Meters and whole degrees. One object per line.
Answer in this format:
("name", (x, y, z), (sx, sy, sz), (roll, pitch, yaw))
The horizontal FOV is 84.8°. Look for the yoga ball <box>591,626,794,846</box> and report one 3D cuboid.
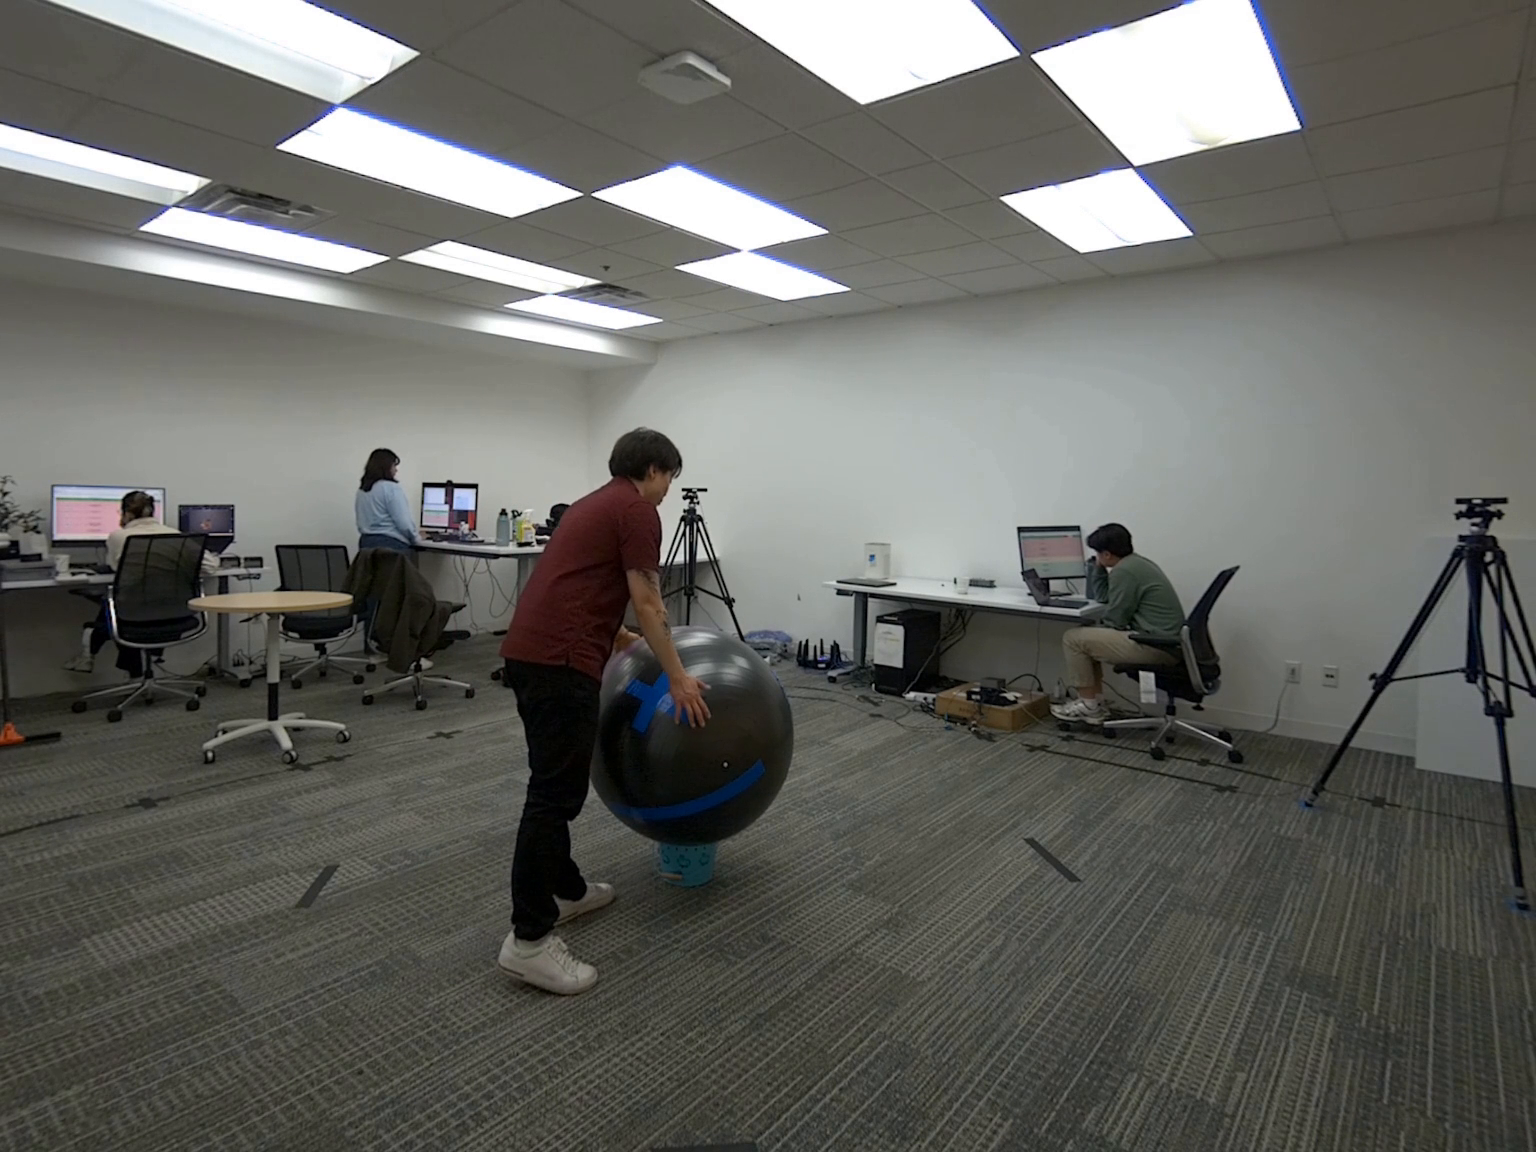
("yoga ball", (-0.288, 0.563, 3.041), (0.757, 0.755, 0.762), (1, 4, -2))
